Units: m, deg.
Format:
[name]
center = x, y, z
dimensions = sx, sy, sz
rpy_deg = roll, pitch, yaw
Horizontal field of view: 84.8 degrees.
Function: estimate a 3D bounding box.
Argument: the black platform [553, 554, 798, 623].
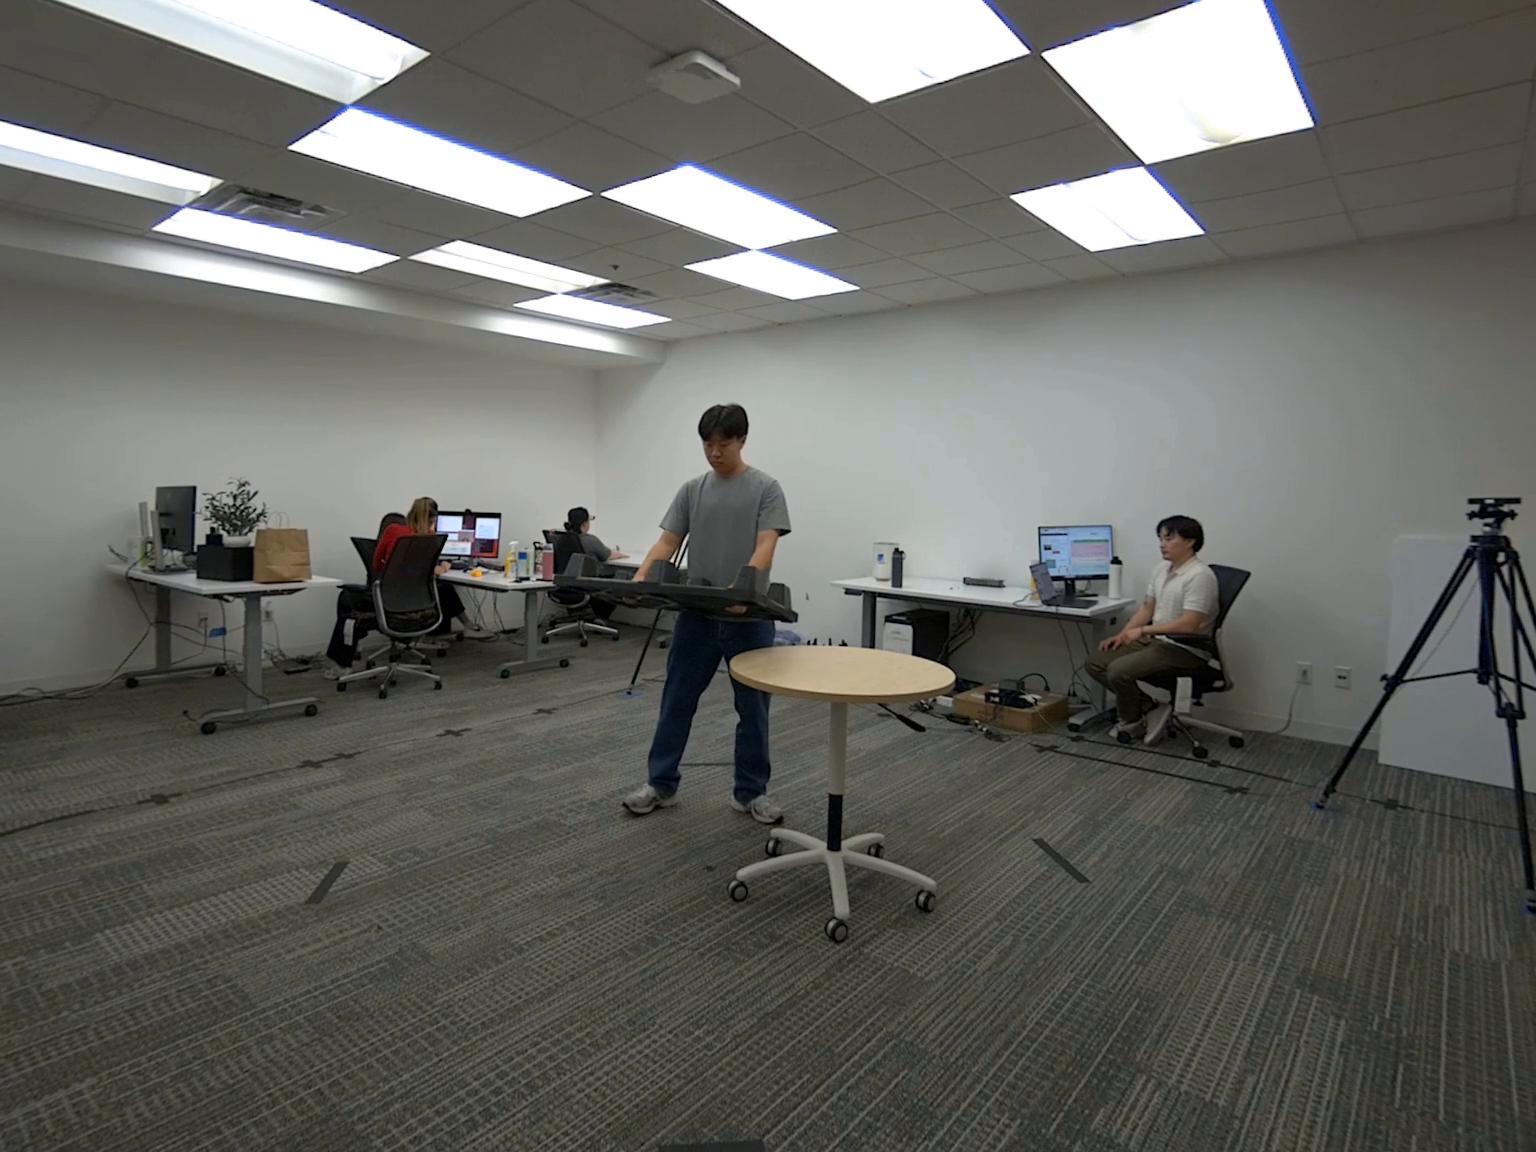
[black platform]
center = -0.342, 0.046, 3.297
dimensions = 0.823, 0.144, 0.587
rpy_deg = 5, -8, 20
